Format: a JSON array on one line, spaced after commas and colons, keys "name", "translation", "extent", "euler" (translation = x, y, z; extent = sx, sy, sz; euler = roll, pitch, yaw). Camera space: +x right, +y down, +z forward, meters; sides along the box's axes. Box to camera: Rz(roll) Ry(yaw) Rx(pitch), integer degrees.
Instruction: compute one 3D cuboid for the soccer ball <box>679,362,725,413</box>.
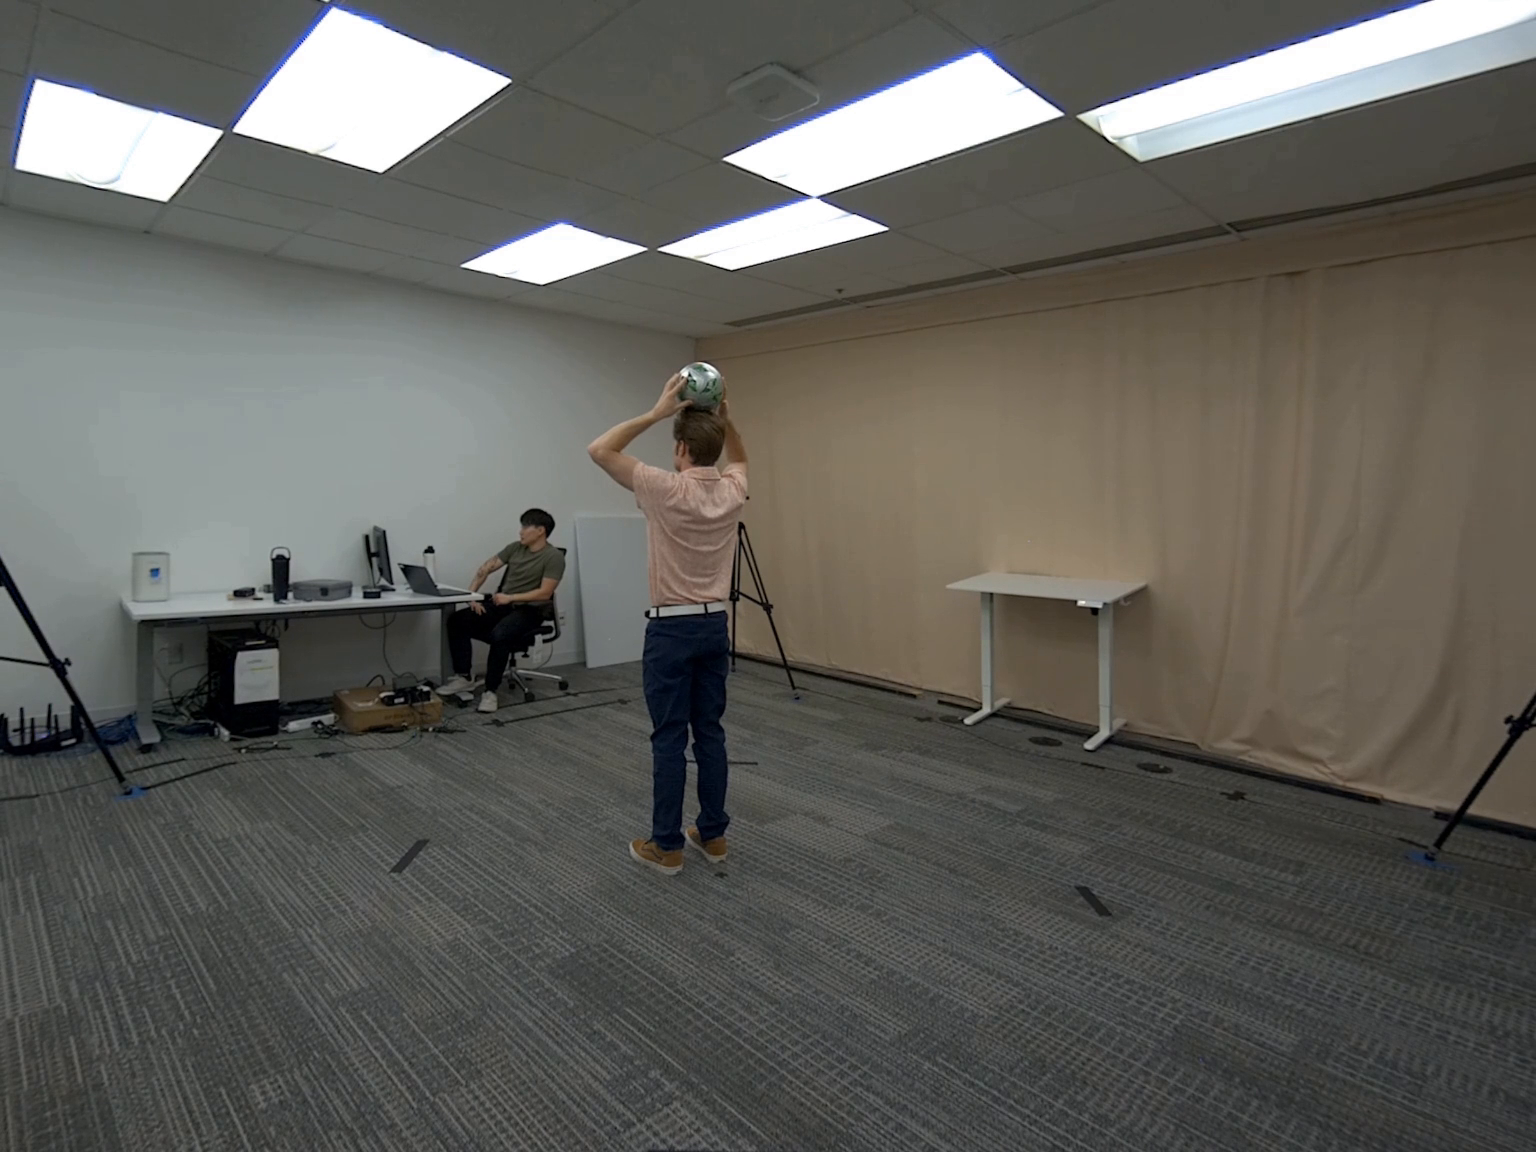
[{"name": "soccer ball", "translation": [-0.263, -0.691, 3.139], "extent": [0.187, 0.187, 0.188], "euler": [1, 4, -1]}]
